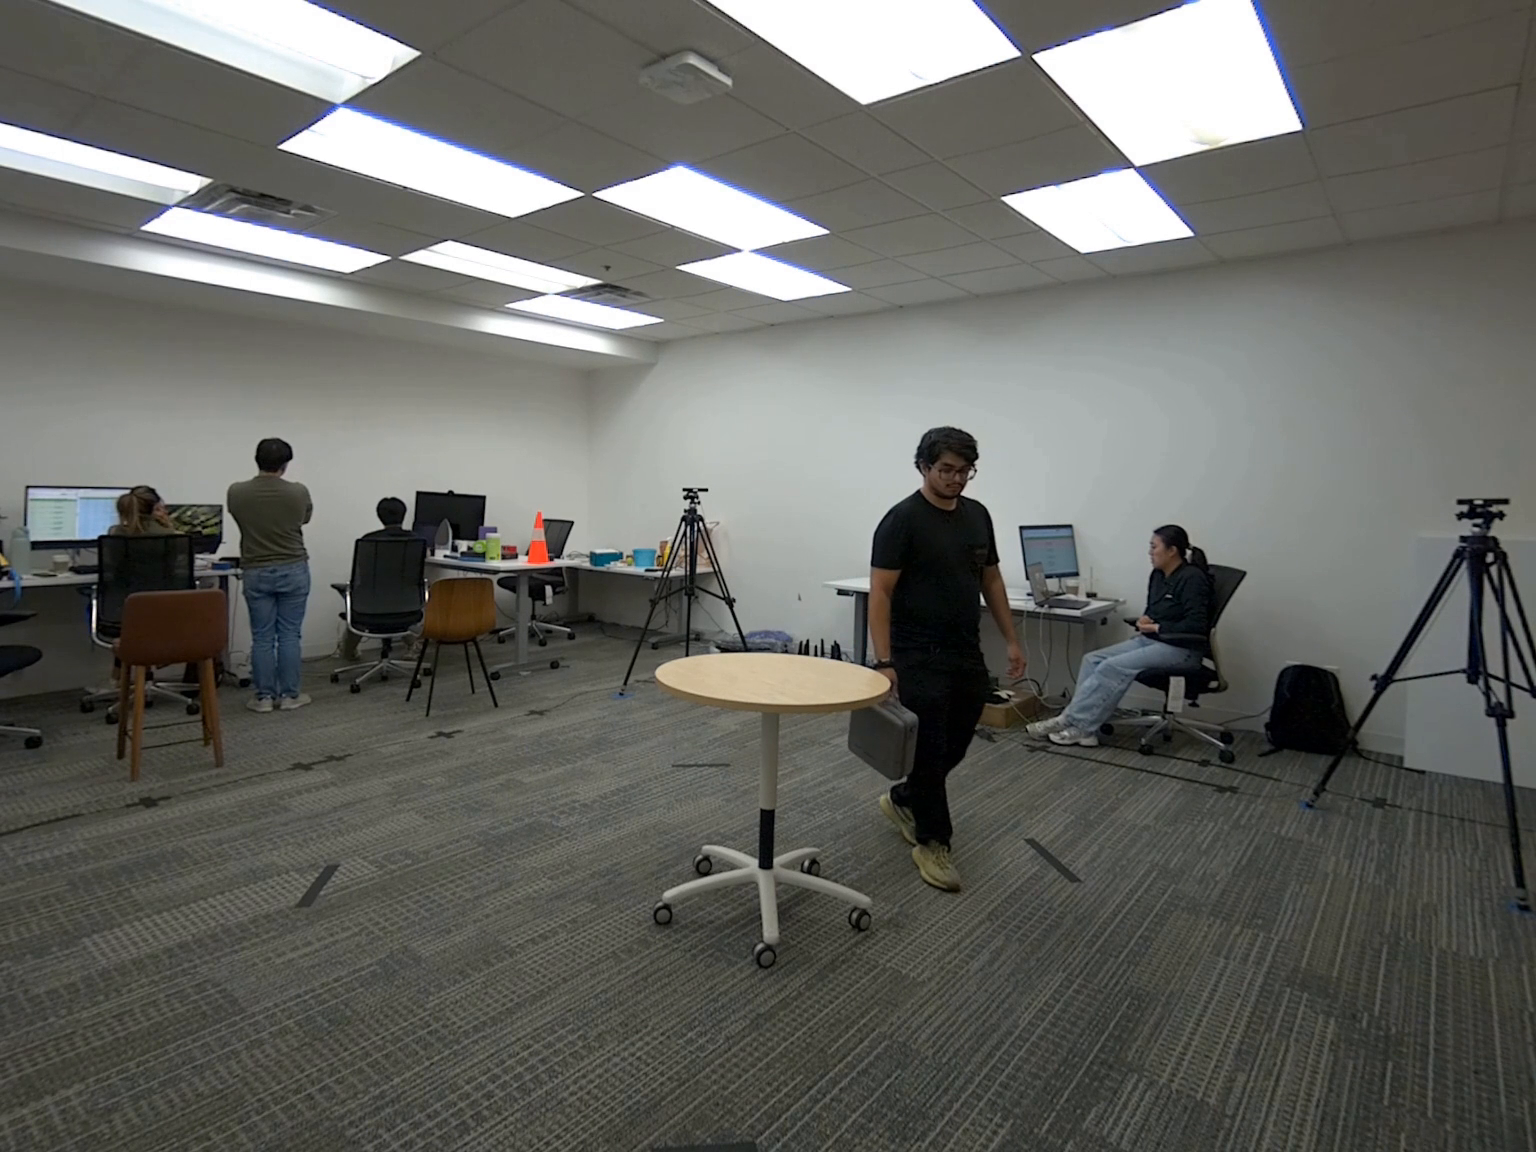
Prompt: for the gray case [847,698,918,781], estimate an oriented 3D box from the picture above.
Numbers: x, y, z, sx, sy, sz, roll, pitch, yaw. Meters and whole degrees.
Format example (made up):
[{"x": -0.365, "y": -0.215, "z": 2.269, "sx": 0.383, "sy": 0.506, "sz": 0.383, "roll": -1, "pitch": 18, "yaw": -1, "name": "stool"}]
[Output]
[{"x": 0.405, "y": 0.558, "z": 3.054, "sx": 0.102, "sy": 0.256, "sz": 0.267, "roll": -11, "pitch": 23, "yaw": -33, "name": "gray case"}]
